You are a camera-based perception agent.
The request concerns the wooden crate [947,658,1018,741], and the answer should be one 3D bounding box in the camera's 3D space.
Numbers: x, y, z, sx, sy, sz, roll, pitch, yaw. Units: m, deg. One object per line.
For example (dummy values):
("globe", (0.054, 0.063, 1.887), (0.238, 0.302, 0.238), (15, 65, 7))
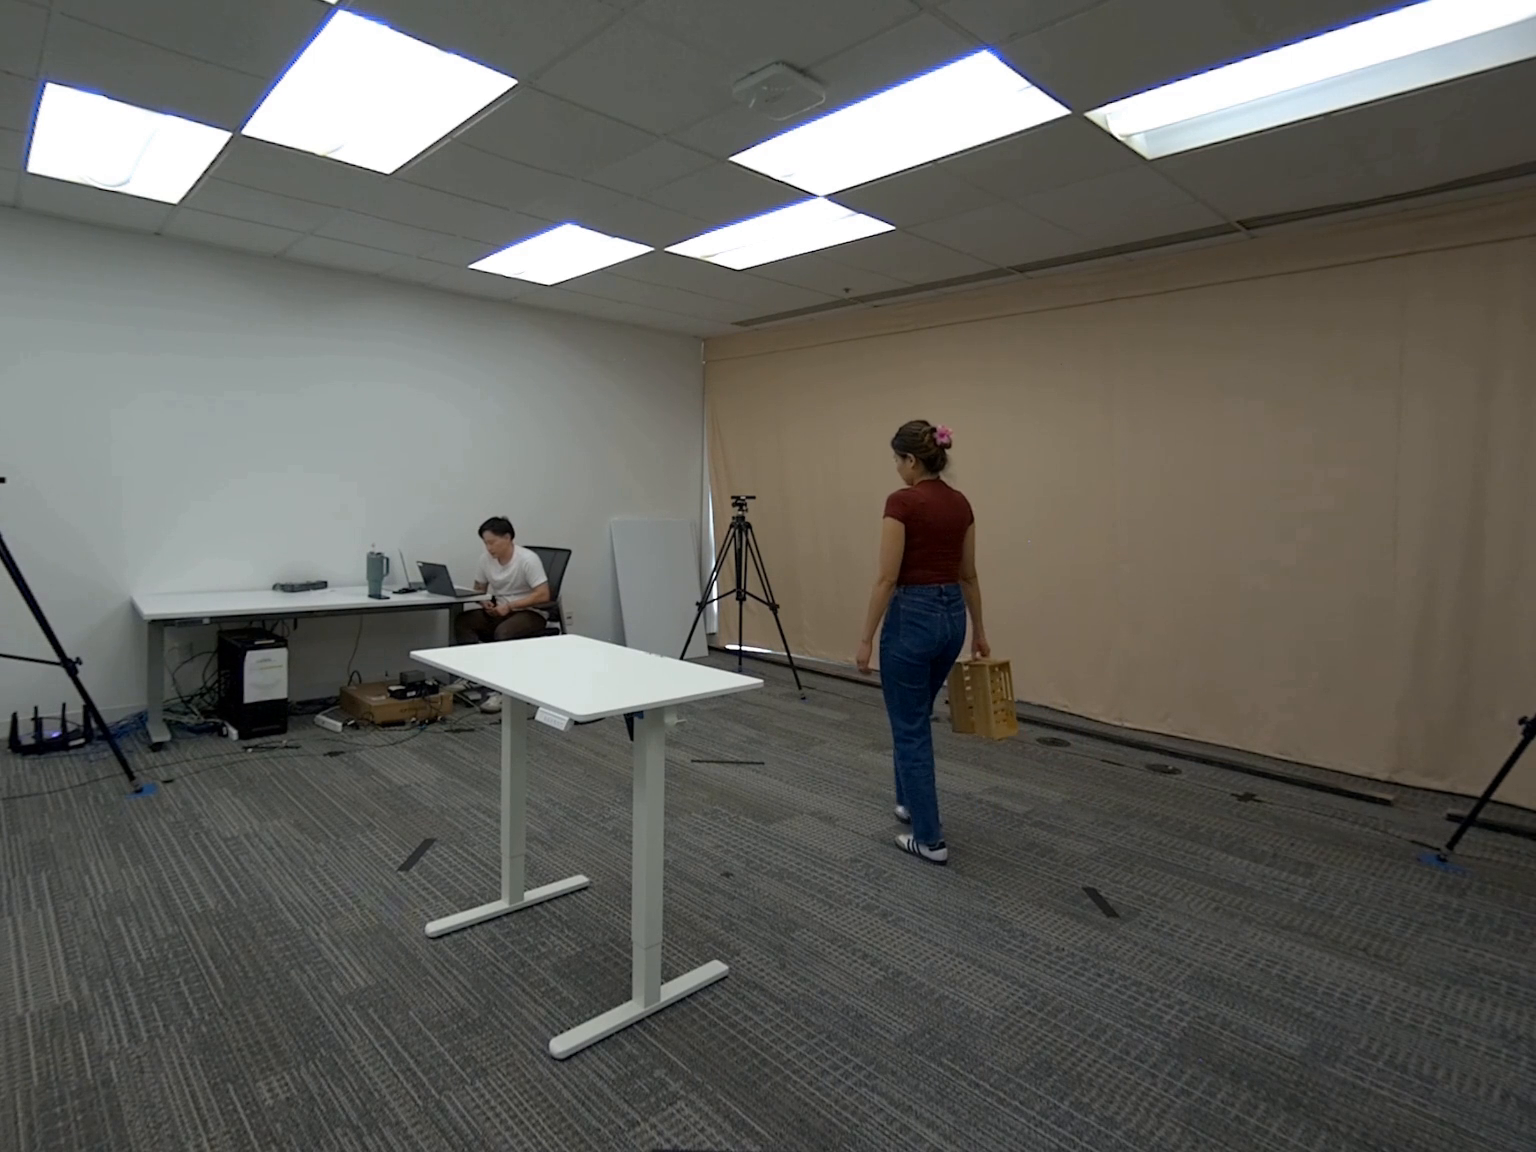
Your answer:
("wooden crate", (0.921, 0.496, 3.531), (0.296, 0.325, 0.278), (-5, -2, -37))
